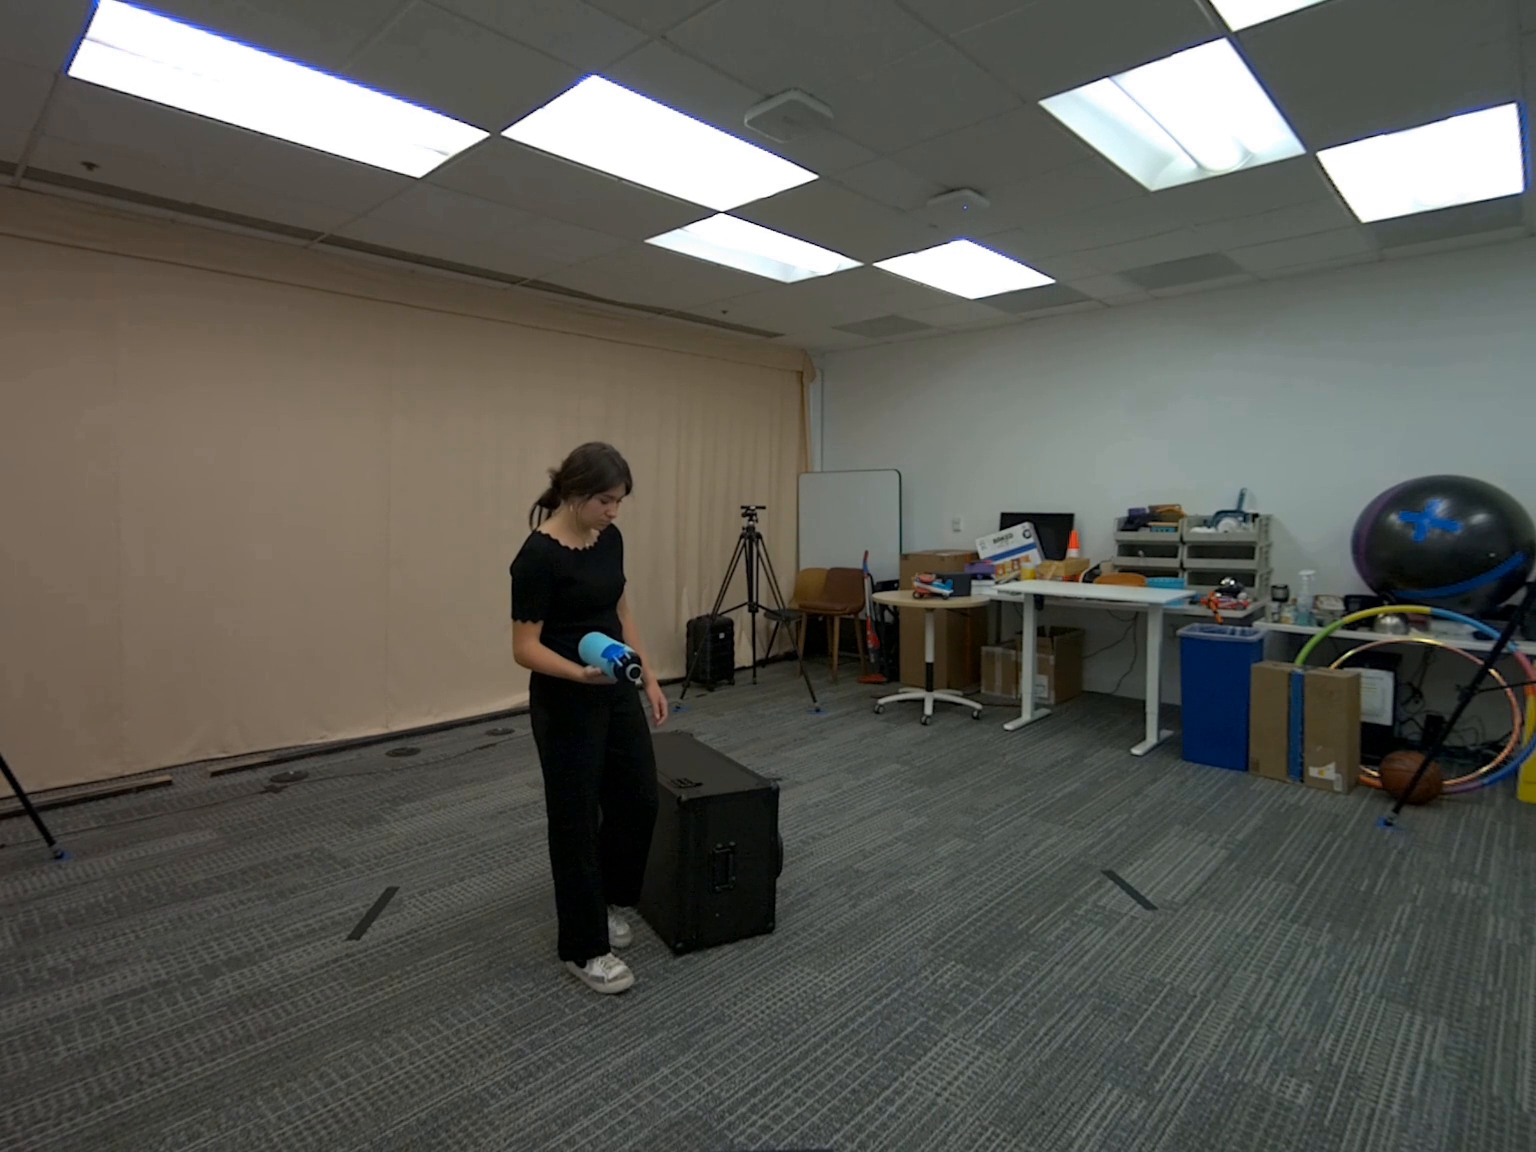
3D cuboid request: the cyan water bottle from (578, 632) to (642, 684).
[{"bbox_3d":[-0.414,0.216,2.180,0.090,0.092,0.292,-2,6,-31],"label":"cyan water bottle"}]
